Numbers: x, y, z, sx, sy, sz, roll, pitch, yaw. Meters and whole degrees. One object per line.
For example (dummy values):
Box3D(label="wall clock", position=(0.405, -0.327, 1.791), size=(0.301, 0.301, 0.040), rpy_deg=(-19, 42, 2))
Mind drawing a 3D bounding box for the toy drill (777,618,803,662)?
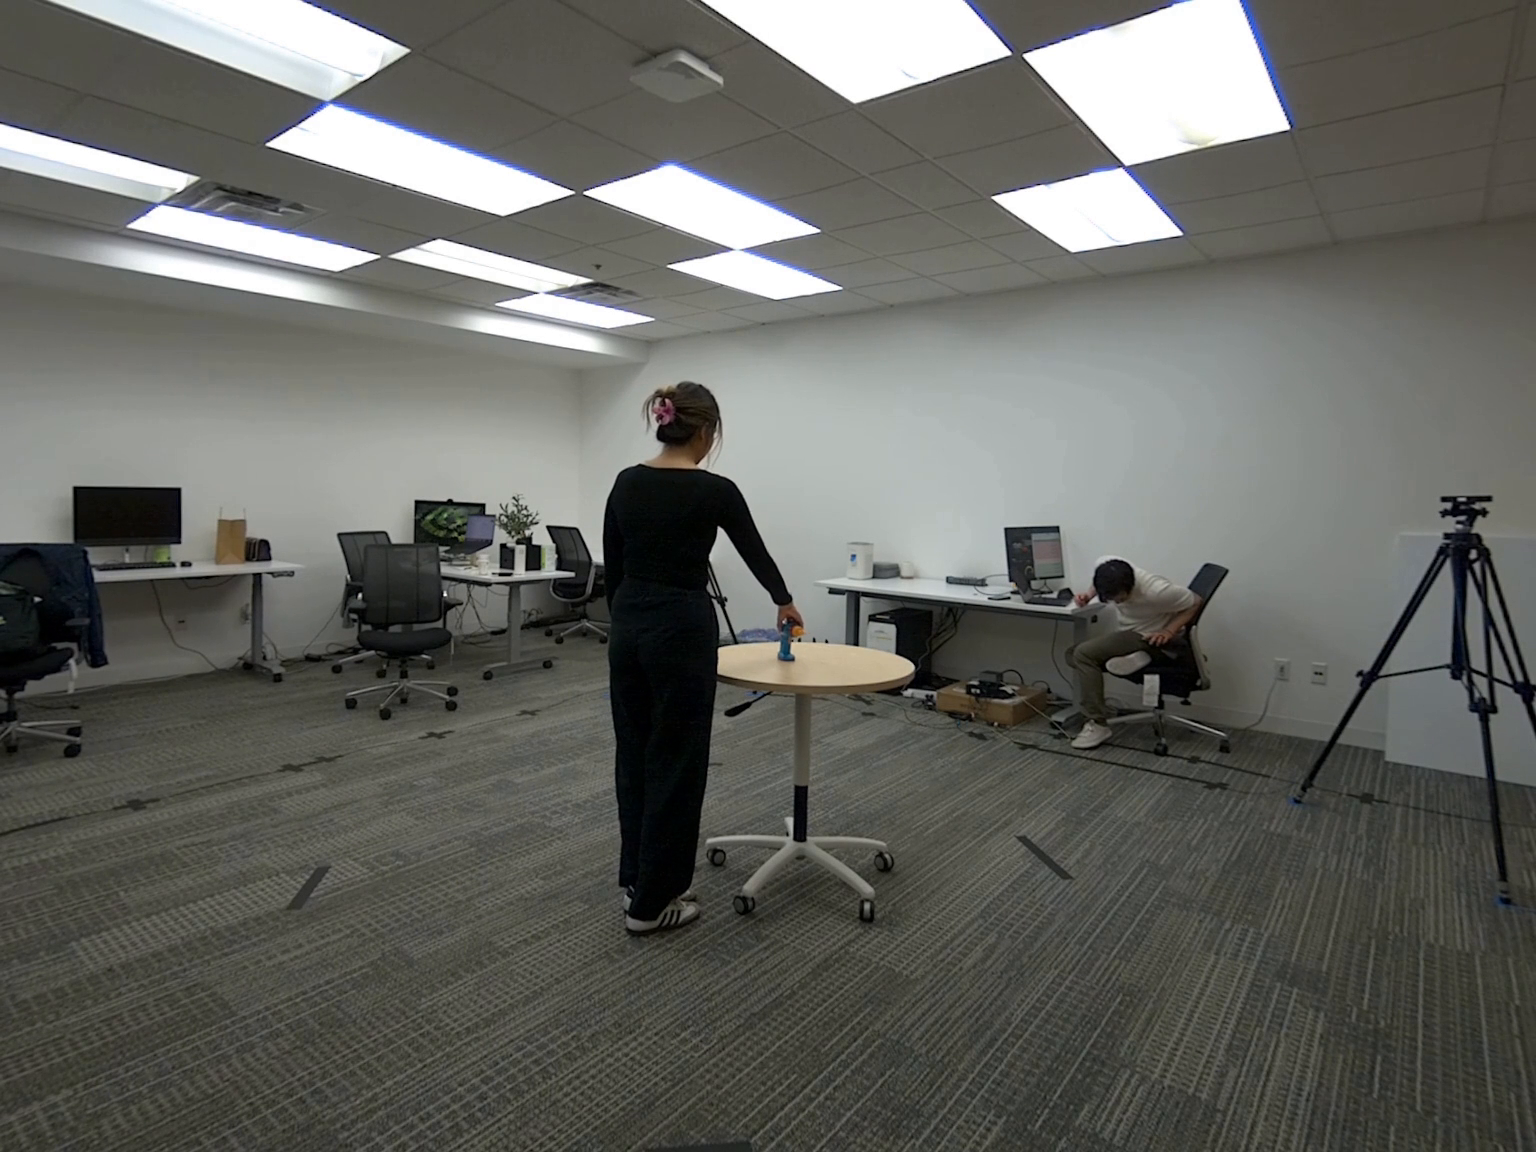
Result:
Box3D(label="toy drill", position=(0.076, 0.227, 2.998), size=(0.059, 0.145, 0.175), rpy_deg=(-1, 5, -32))
